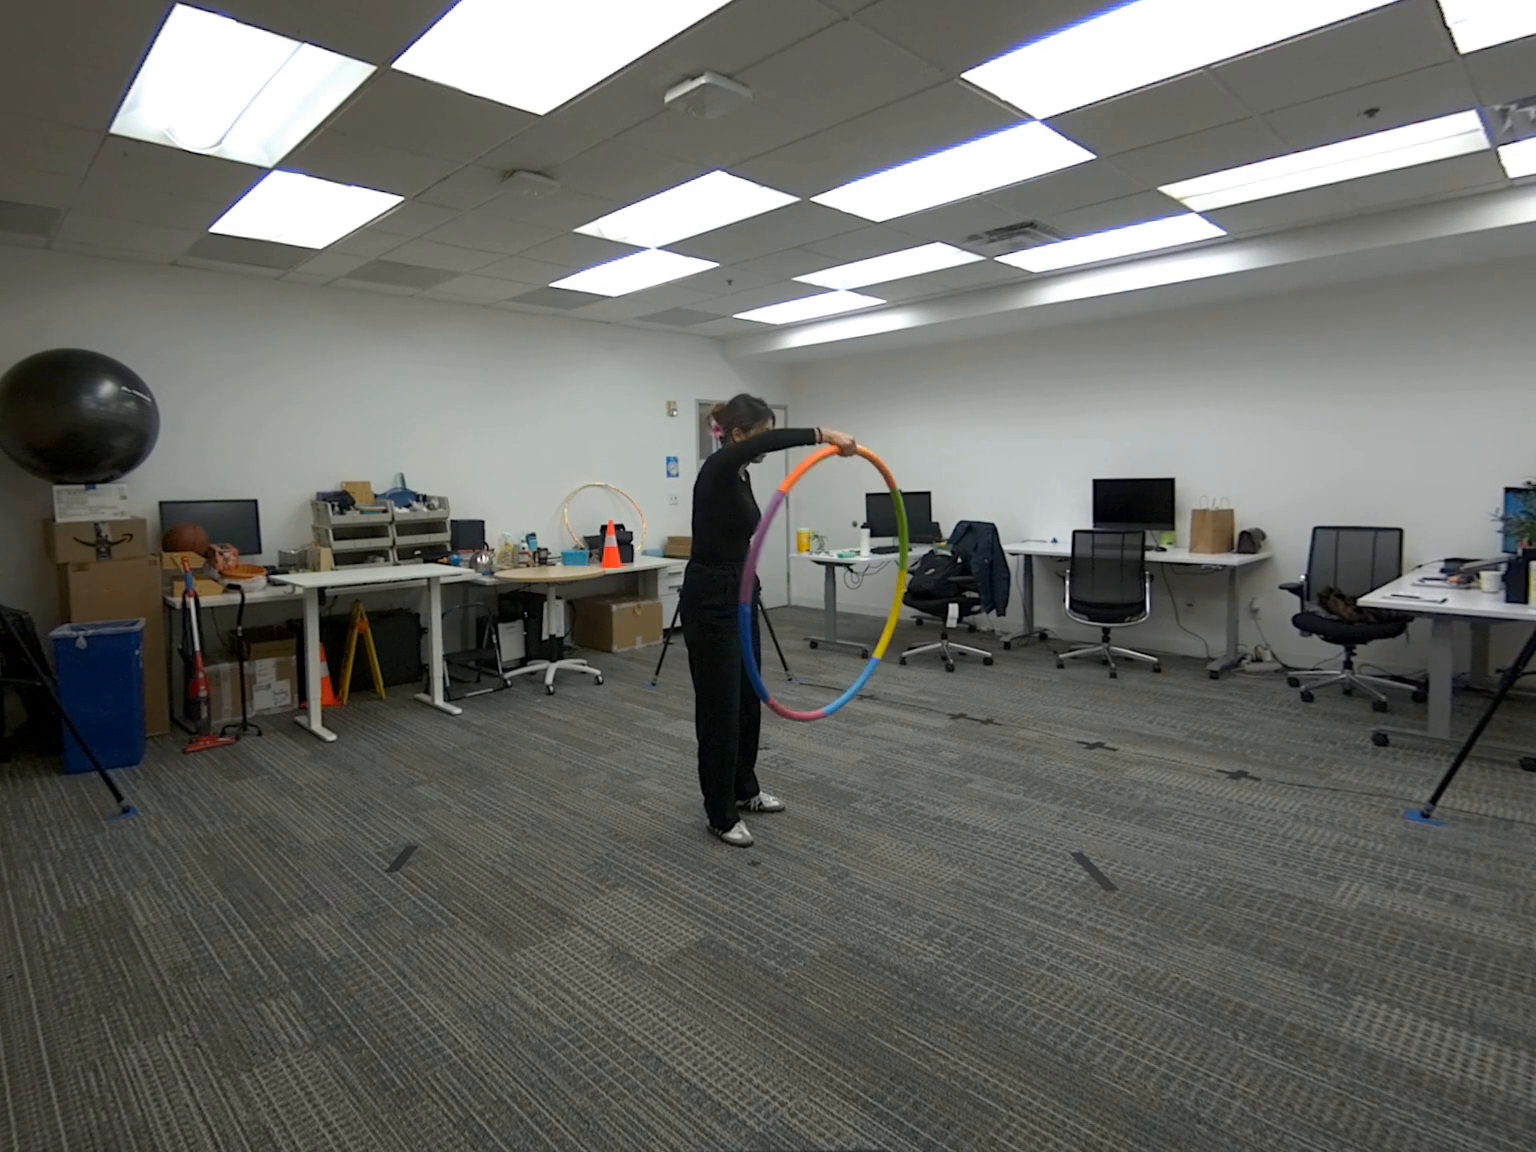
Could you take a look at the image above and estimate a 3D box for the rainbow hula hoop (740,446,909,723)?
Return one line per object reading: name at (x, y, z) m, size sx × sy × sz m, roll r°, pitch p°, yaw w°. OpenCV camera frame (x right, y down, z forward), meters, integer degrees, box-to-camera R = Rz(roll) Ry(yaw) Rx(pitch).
rainbow hula hoop at (0.223, 0.030, 3.027) m, size 0.053 × 0.978 × 0.960 m, roll 11°, pitch 11°, yaw 38°
